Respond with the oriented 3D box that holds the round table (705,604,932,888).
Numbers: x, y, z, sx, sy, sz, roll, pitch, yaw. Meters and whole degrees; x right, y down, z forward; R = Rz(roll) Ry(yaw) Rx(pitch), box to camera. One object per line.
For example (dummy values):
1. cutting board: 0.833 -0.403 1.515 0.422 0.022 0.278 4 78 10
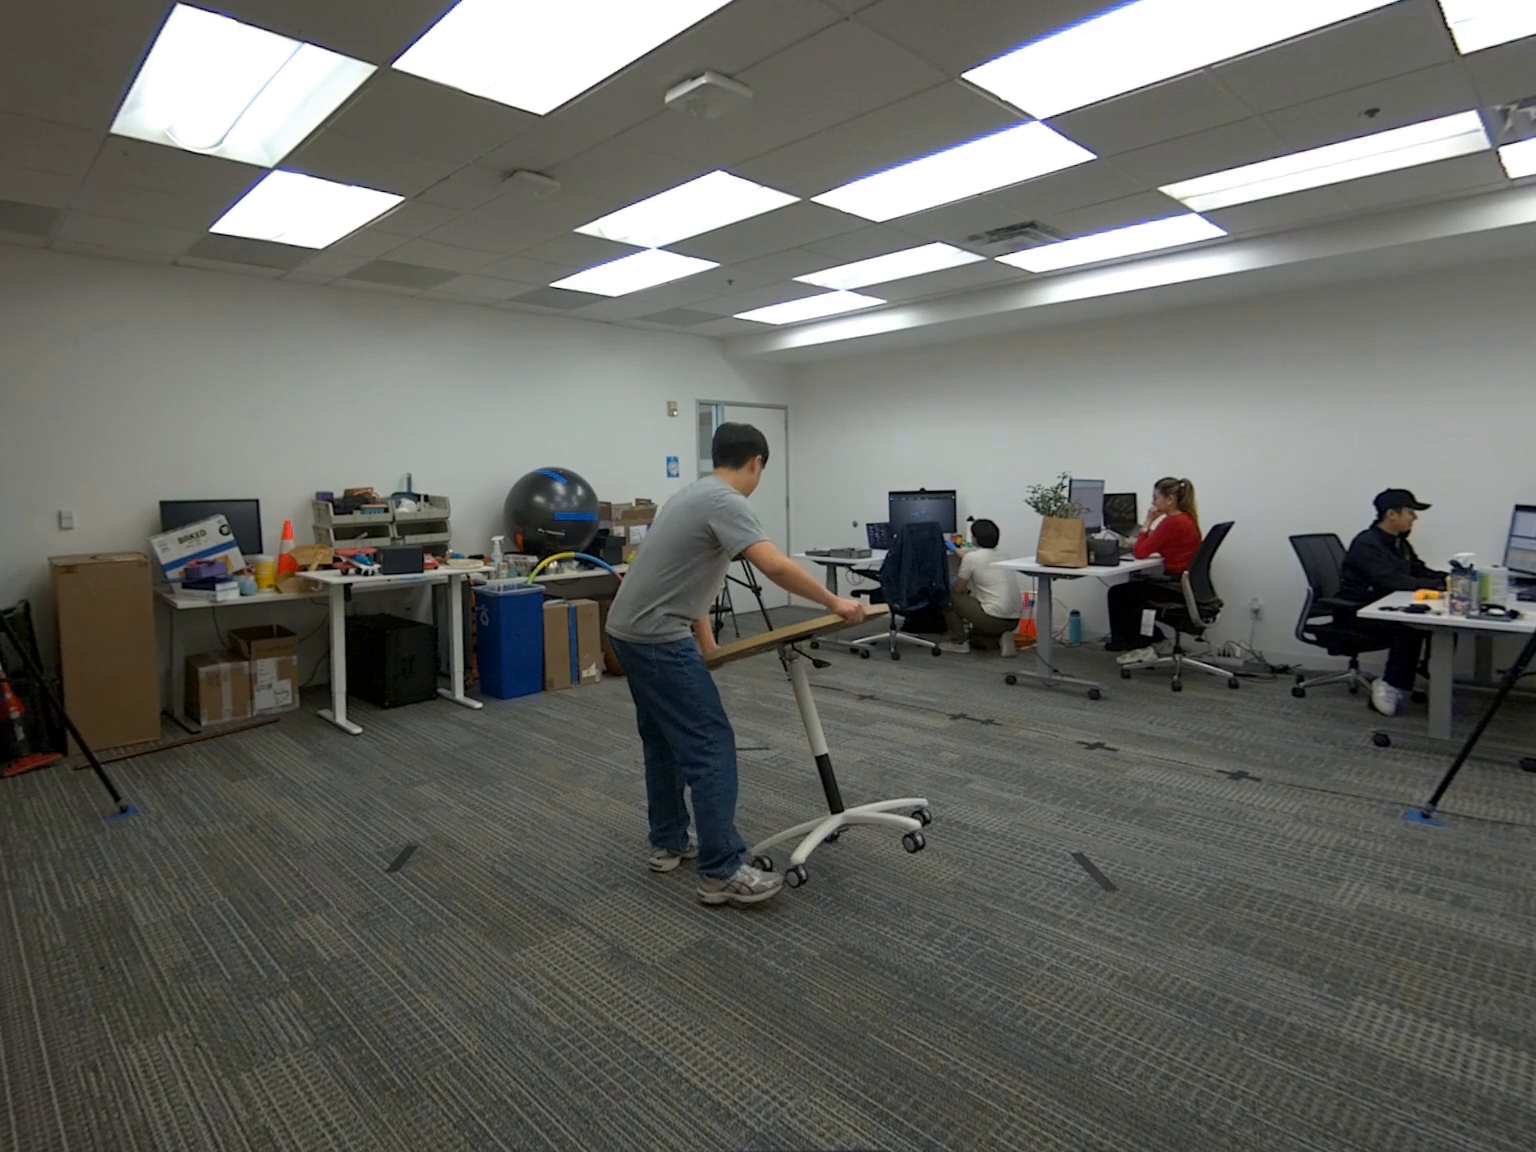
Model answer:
1. round table: 0.185 0.591 3.033 0.762 0.804 0.757 -15 -9 -4
